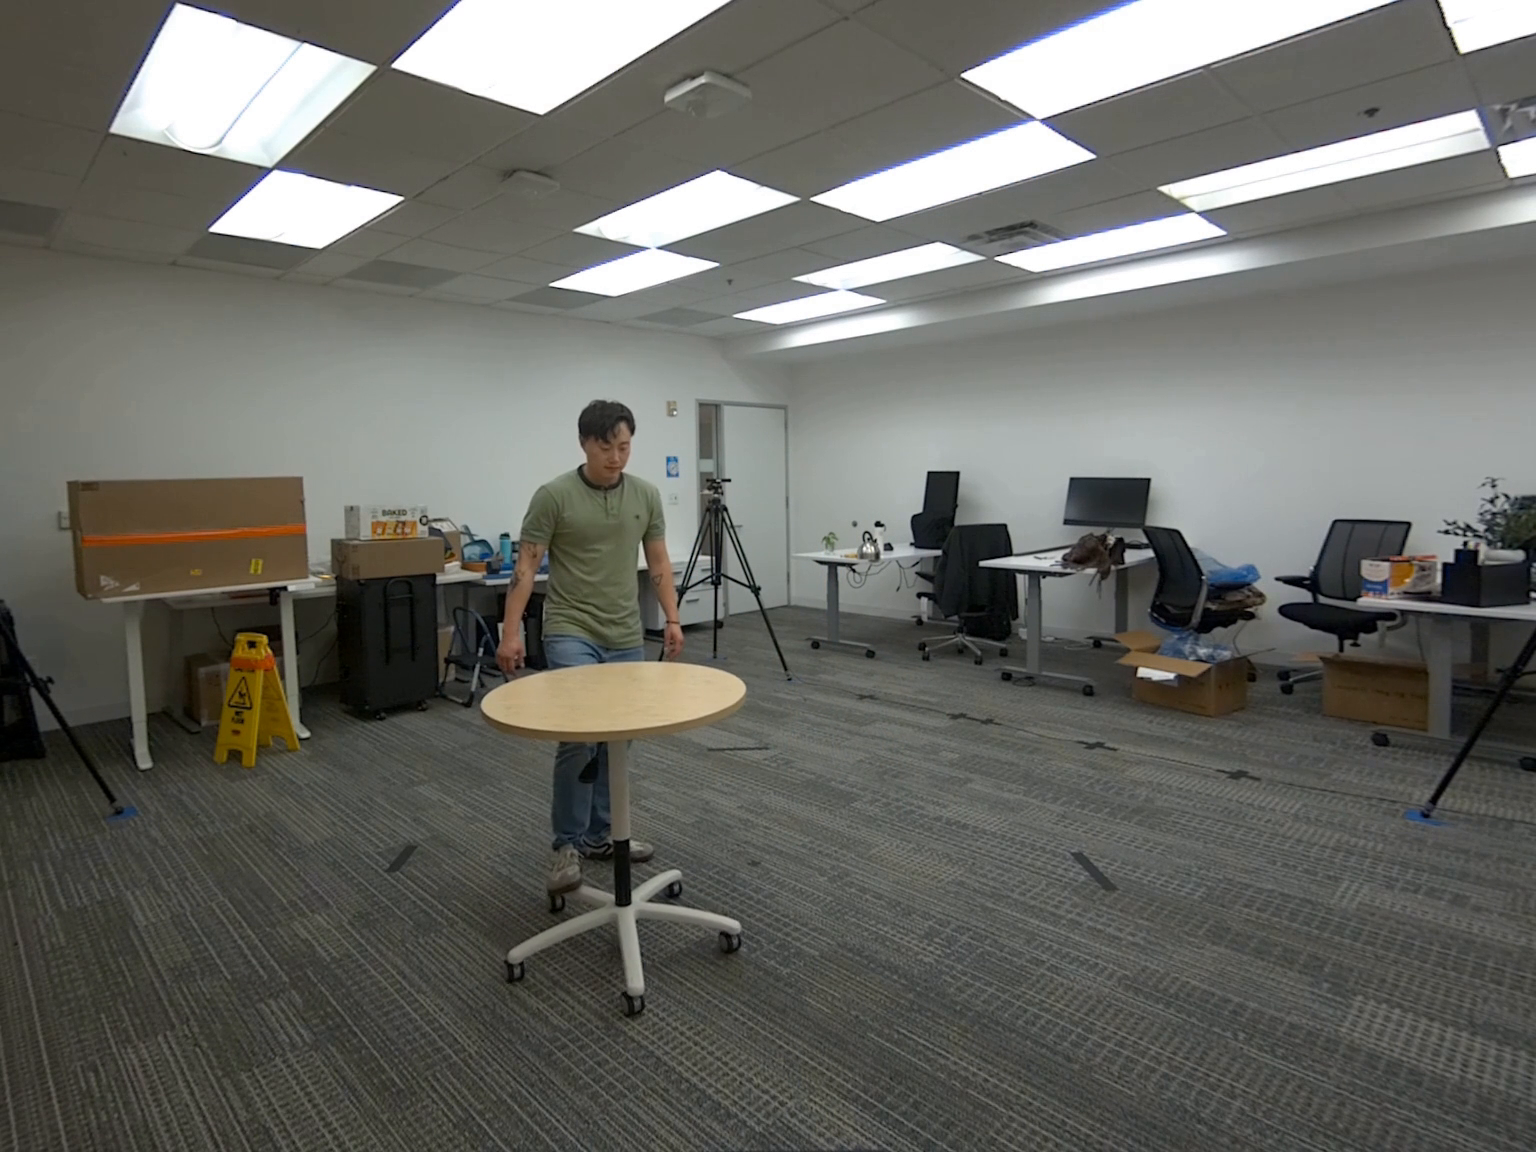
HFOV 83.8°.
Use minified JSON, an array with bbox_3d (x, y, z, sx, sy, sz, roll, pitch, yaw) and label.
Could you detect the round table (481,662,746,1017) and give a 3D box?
[{"bbox_3d":[-0.426,0.730,2.534,0.763,0.790,0.768,-1,6,-2],"label":"round table"}]
